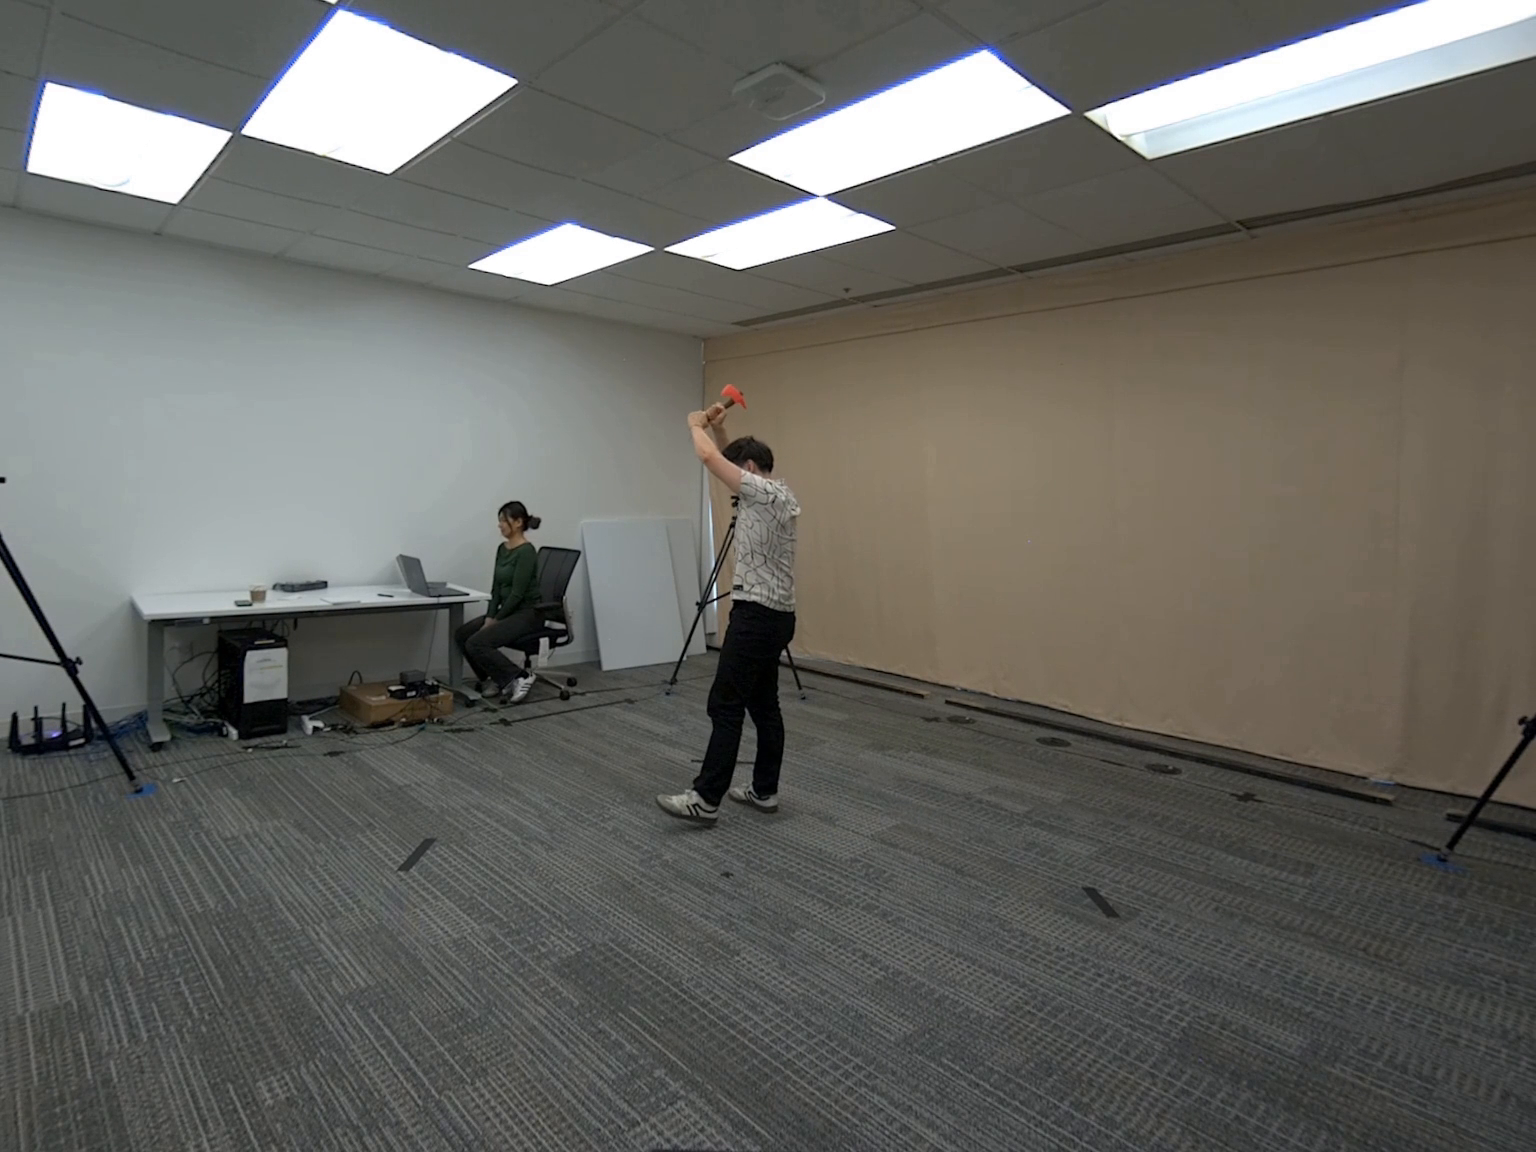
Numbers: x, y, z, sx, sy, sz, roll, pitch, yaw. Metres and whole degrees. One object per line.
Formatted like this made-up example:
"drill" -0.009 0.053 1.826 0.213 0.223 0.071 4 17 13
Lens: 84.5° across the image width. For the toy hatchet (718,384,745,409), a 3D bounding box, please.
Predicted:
"toy hatchet" -0.252 -0.781 3.797 0.270 0.129 0.030 -19 11 -2
